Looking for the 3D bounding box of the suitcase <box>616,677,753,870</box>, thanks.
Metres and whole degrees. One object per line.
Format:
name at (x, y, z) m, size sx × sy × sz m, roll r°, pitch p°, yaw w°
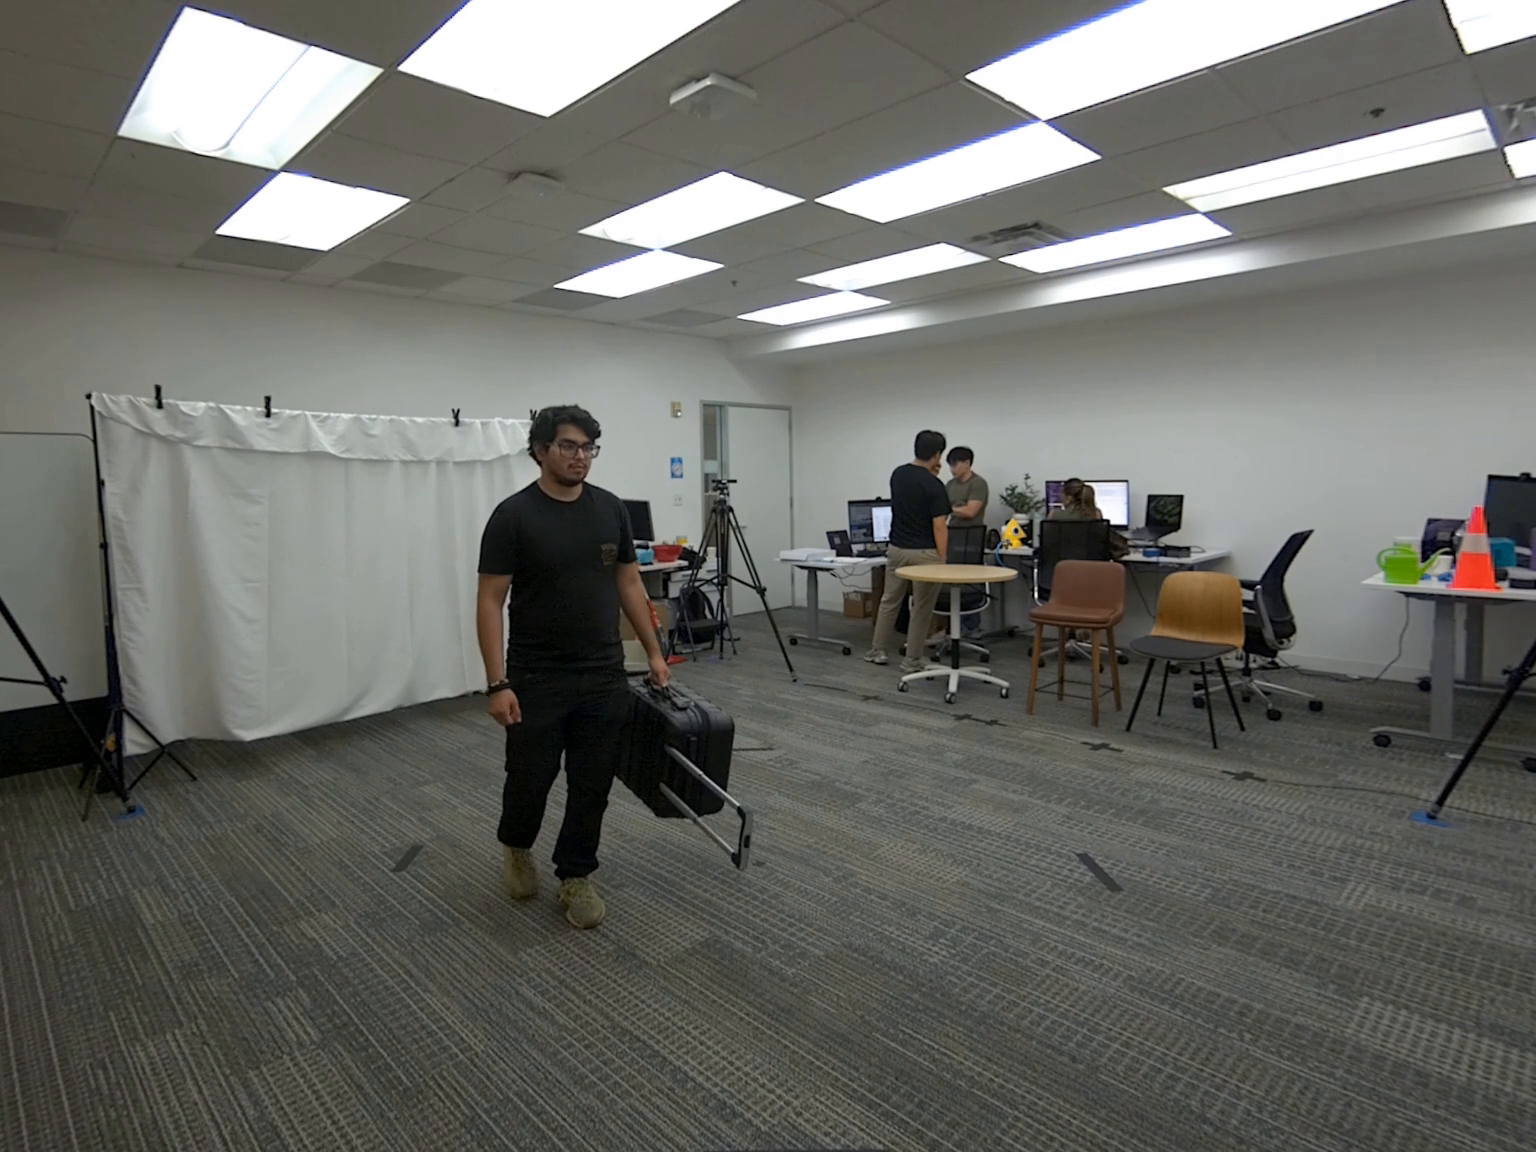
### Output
suitcase at (-0.231, 0.602, 2.726) m, size 0.250 × 0.382 × 1.011 m, roll 5°, pitch 7°, yaw -33°
